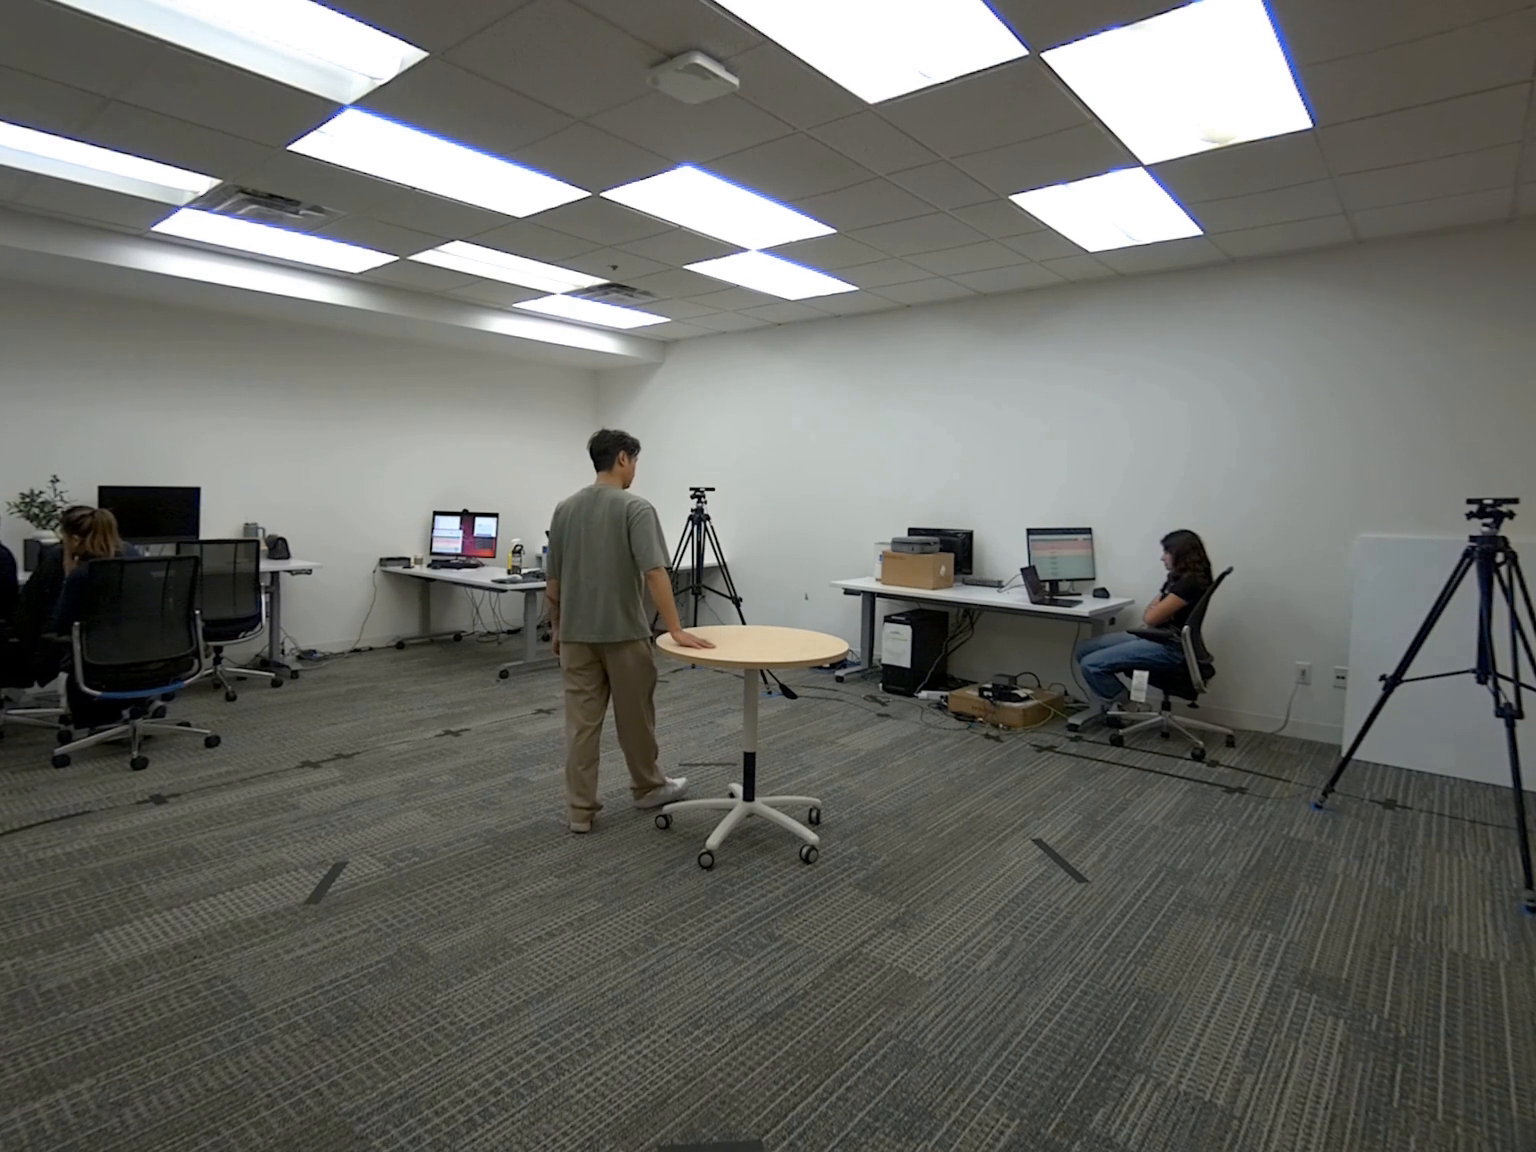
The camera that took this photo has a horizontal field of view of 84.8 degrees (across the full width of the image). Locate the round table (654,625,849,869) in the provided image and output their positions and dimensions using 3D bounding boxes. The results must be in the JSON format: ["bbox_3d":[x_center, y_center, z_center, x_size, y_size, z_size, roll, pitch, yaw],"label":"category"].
[{"bbox_3d":[-0.083,0.652,3.412,0.763,0.791,0.768,1,4,-2],"label":"round table"}]
